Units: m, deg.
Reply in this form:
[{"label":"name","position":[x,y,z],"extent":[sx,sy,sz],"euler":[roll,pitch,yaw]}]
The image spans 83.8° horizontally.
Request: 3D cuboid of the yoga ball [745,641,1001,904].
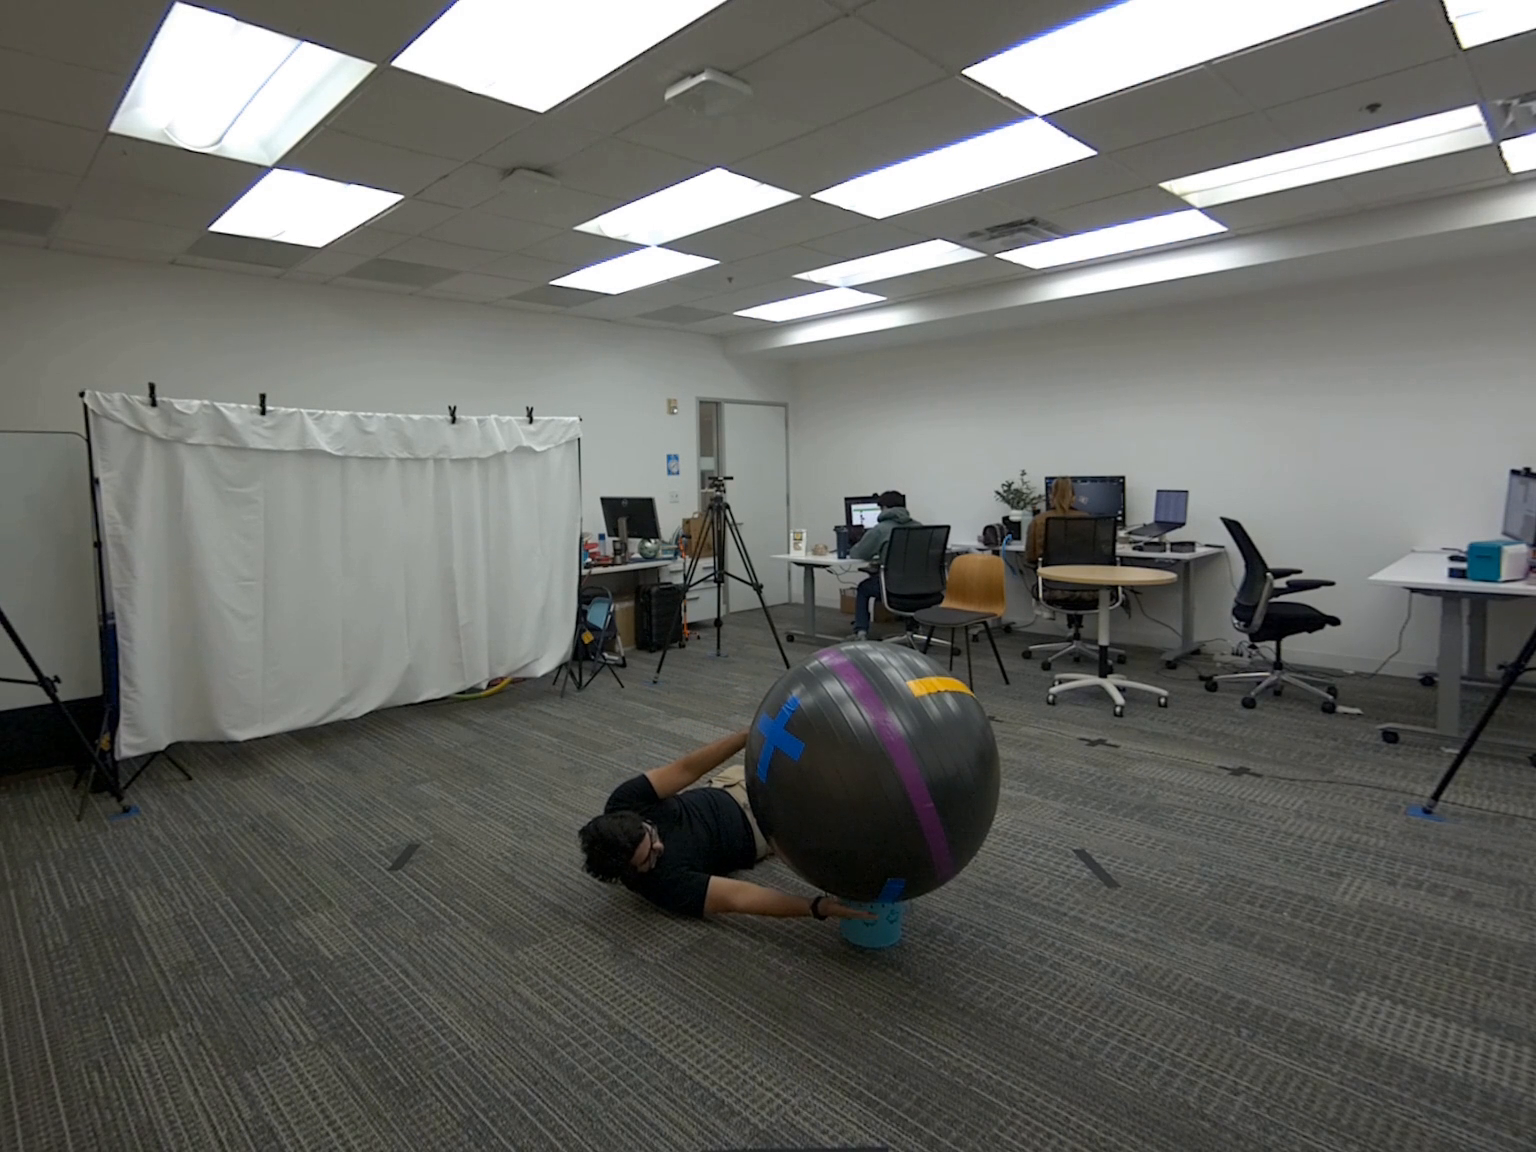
[{"label":"yoga ball","position":[0.309,0.581,2.581],"extent":[0.757,0.755,0.761],"euler":[-1,4,-2]}]
